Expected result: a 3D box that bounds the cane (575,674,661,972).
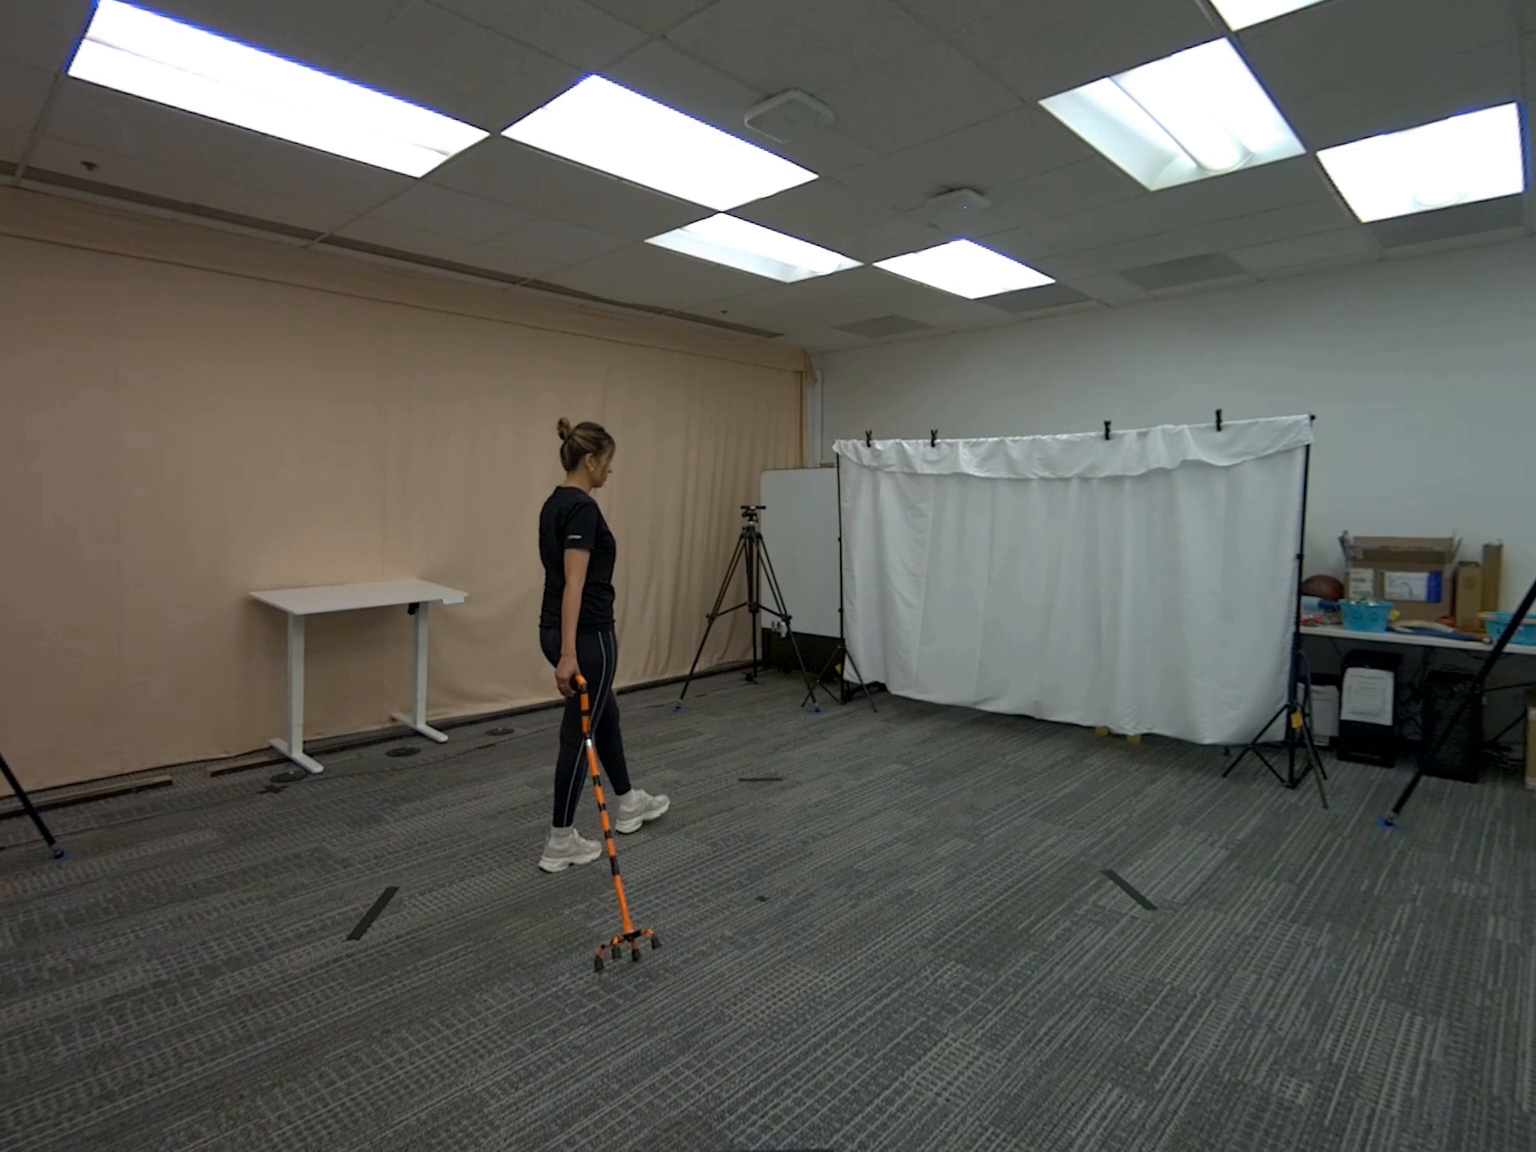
[{"bbox_3d":[-0.543,0.745,2.691,0.148,0.929,0.207,-3,-31,-27],"label":"cane"}]
